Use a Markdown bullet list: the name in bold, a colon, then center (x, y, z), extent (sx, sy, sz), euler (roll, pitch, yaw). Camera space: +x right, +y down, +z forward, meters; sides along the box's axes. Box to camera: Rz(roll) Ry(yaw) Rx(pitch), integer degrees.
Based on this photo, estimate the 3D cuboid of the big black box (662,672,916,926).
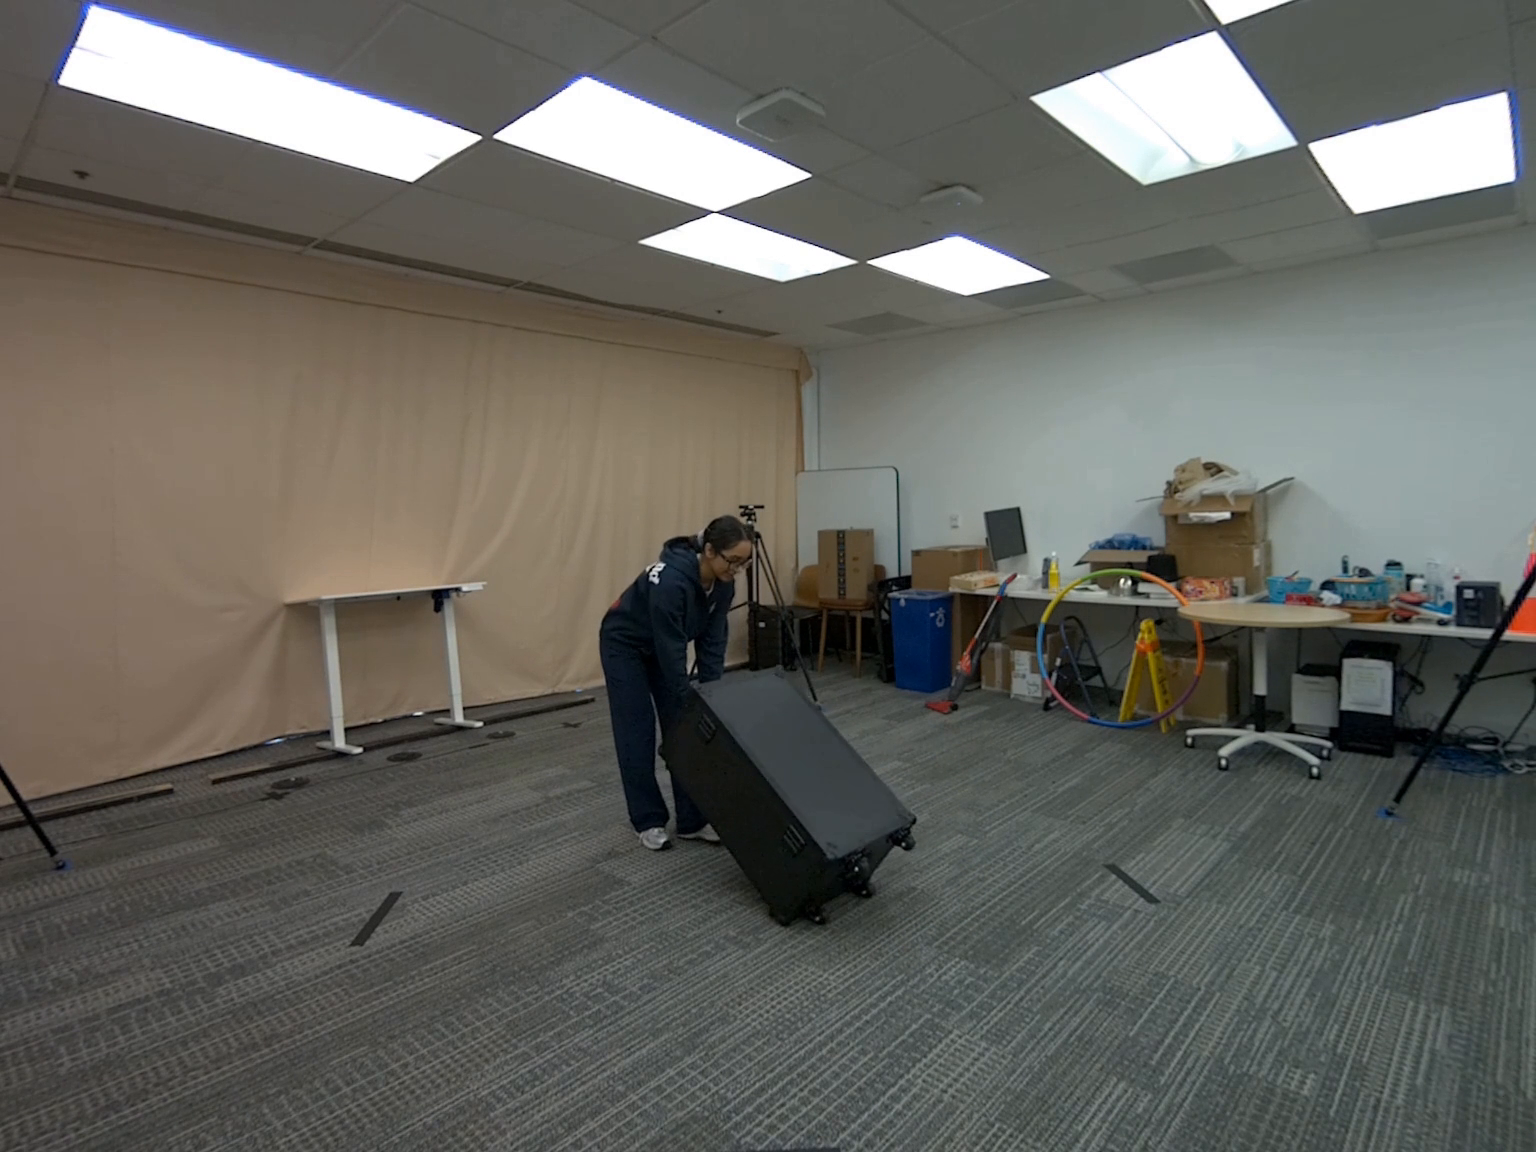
- **big black box**: center (0.067, 0.784, 3.051), extent (0.505, 0.395, 0.890), euler (-5, 41, -46)
